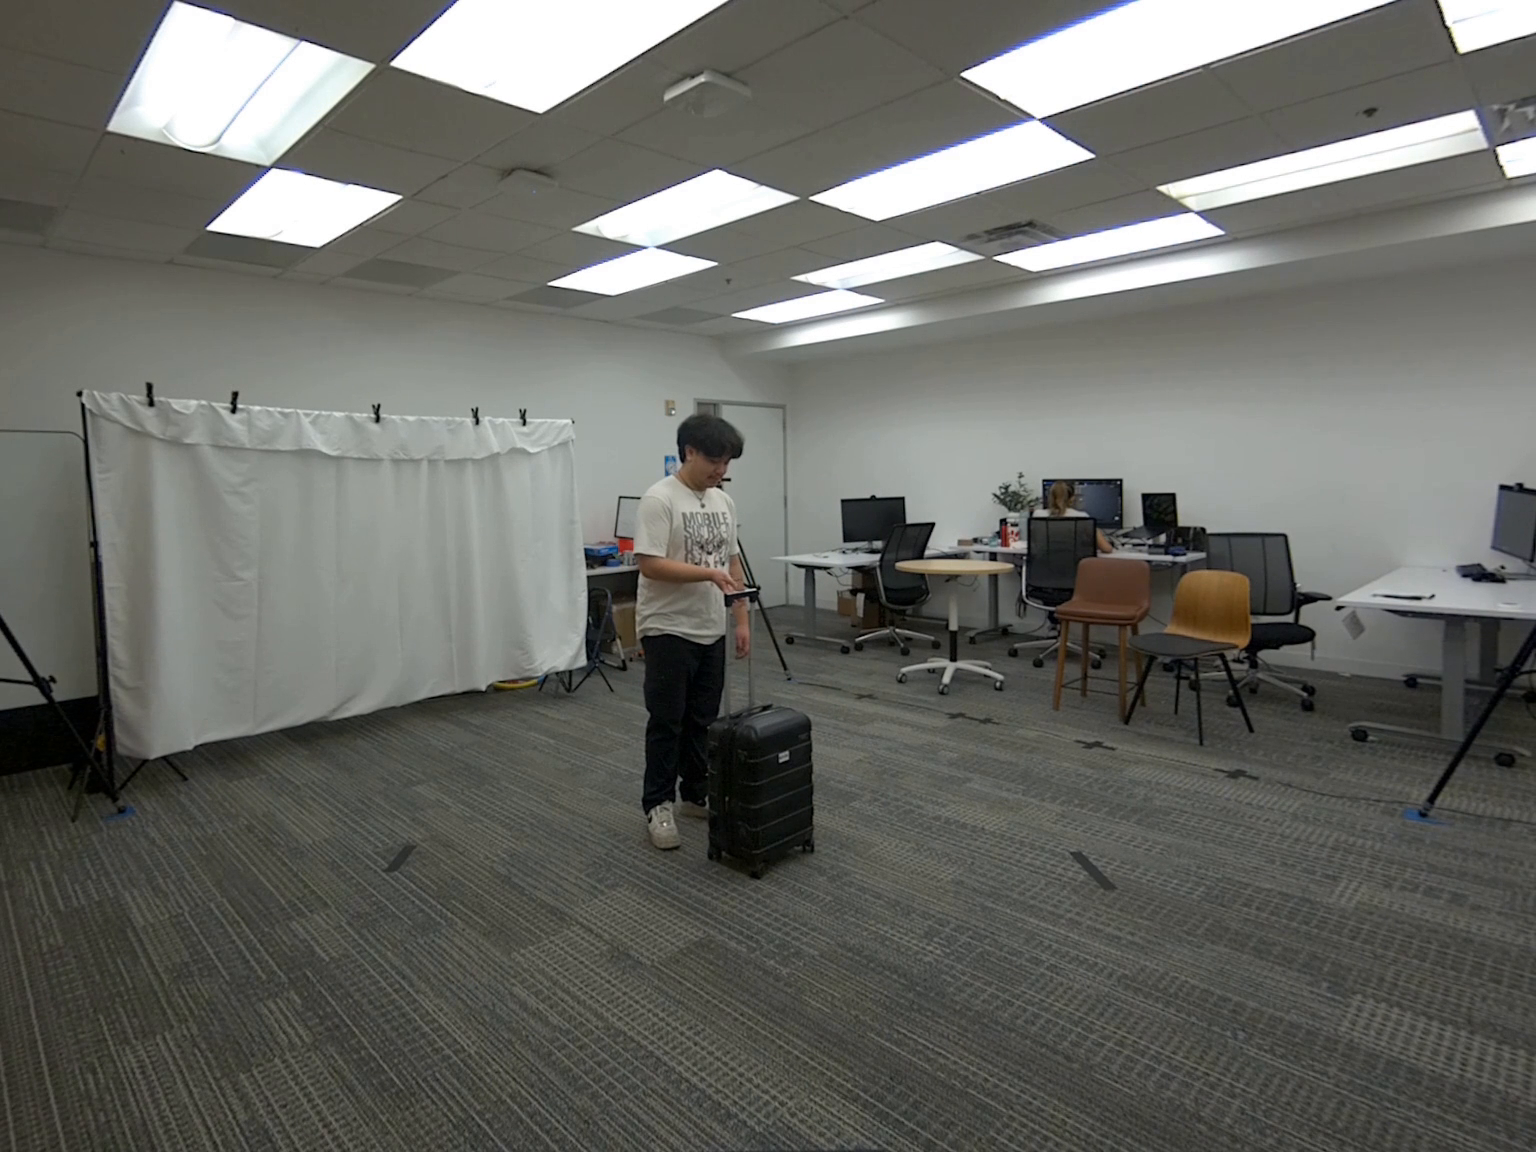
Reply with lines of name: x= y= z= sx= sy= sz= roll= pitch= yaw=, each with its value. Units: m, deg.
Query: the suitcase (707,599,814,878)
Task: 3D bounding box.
suitcase: x=-0.015 y=0.565 z=3.111 sx=0.265 sy=0.973 sz=0.374 roll=7 pitch=9 yaw=44
